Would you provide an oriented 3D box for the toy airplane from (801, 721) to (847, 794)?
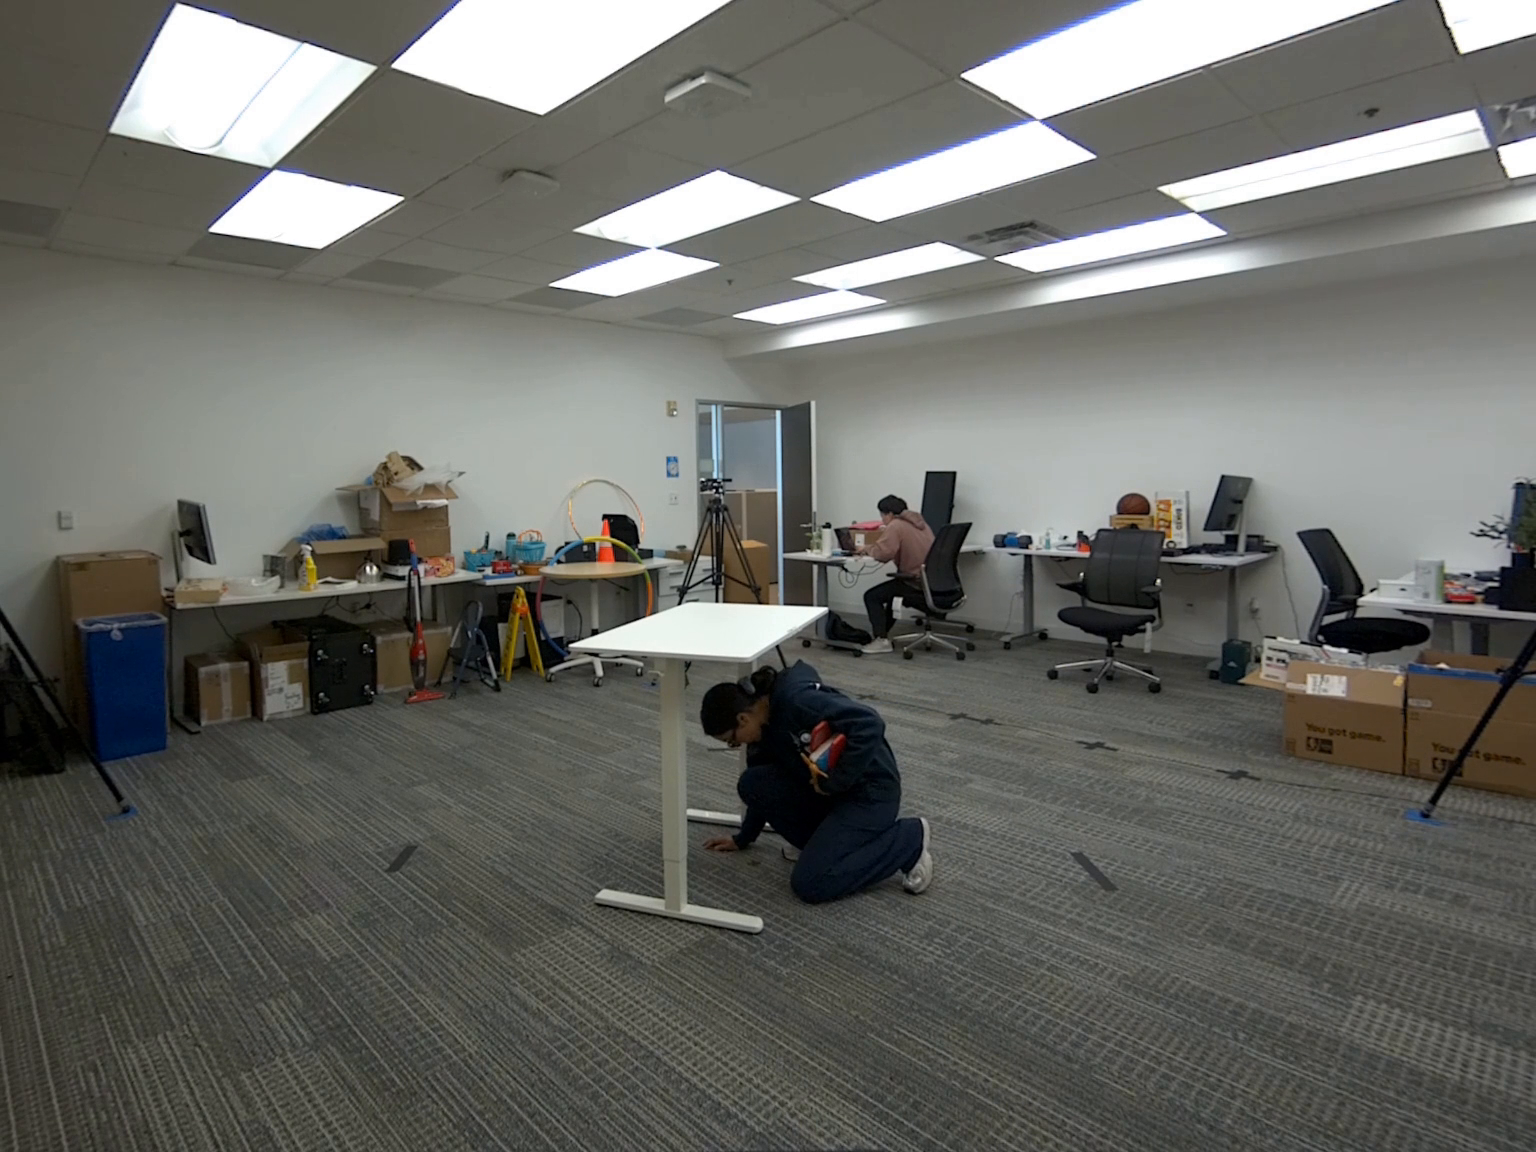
[{"bbox_3d":[0.221,0.553,2.882,0.241,0.259,0.162,36,13,-48],"label":"toy airplane"}]
